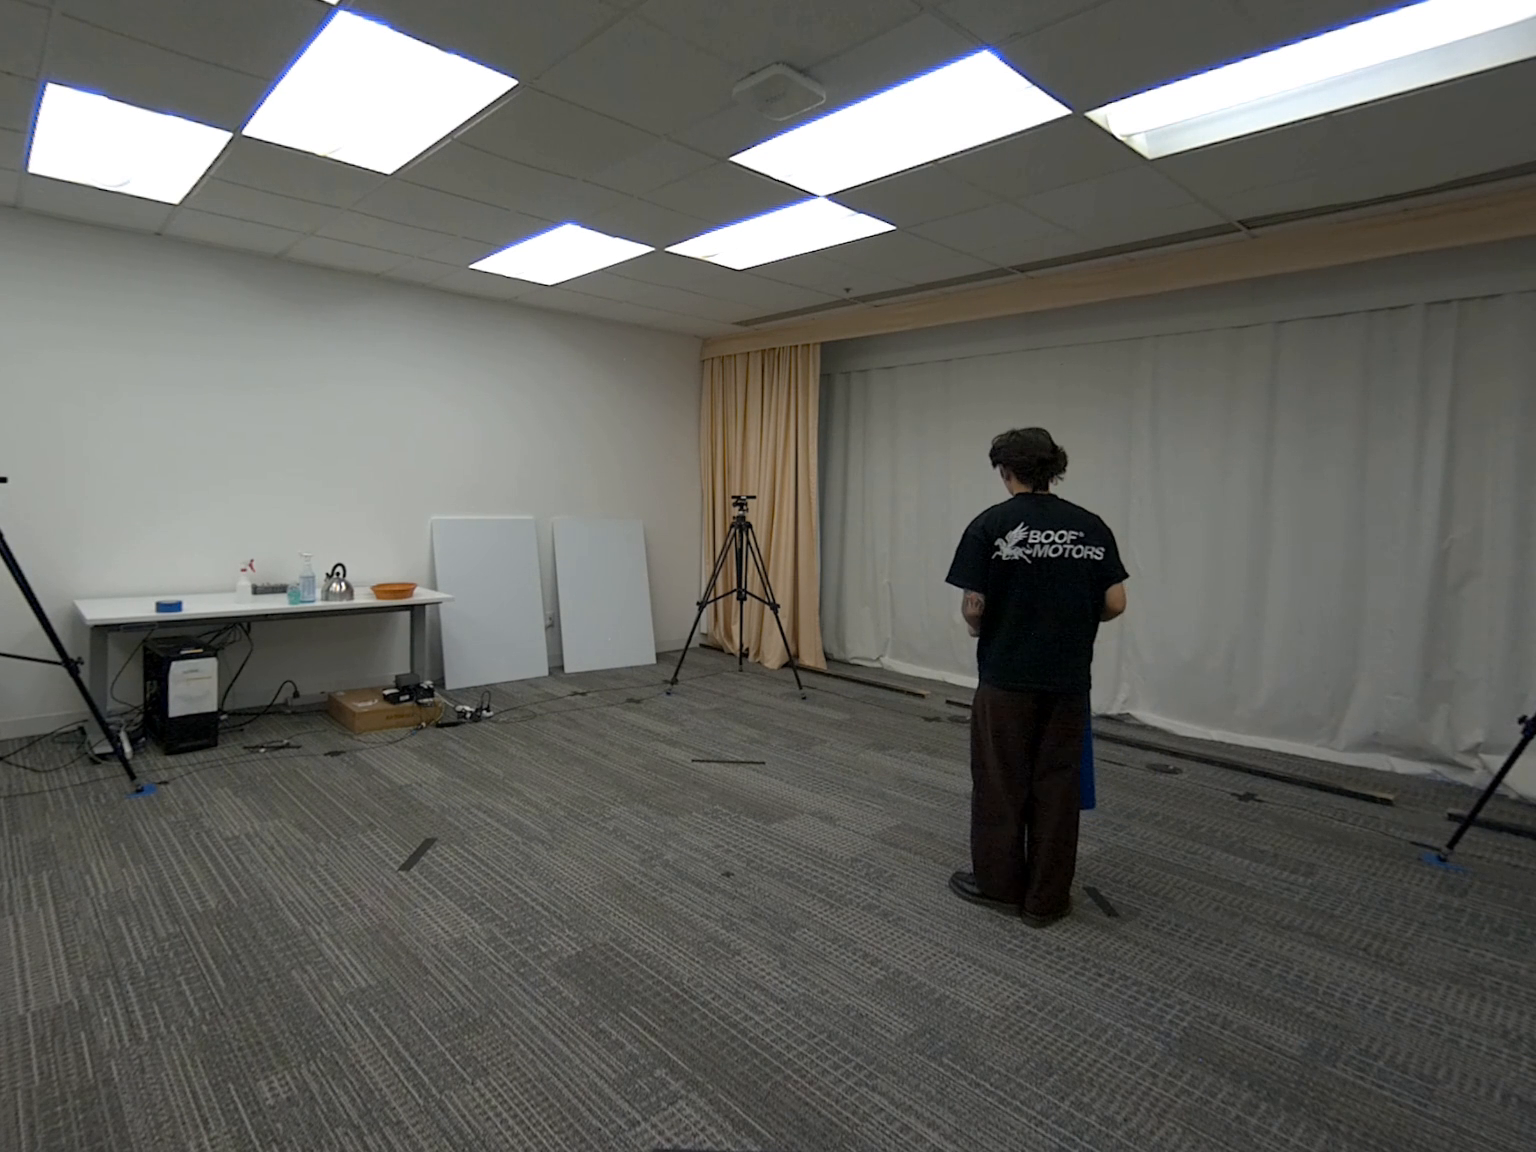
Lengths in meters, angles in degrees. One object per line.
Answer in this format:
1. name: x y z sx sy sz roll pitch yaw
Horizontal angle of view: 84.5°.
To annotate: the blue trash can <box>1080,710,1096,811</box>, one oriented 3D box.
1. blue trash can: 1.013 0.490 3.158 0.377 0.708 0.378 -7 9 11
